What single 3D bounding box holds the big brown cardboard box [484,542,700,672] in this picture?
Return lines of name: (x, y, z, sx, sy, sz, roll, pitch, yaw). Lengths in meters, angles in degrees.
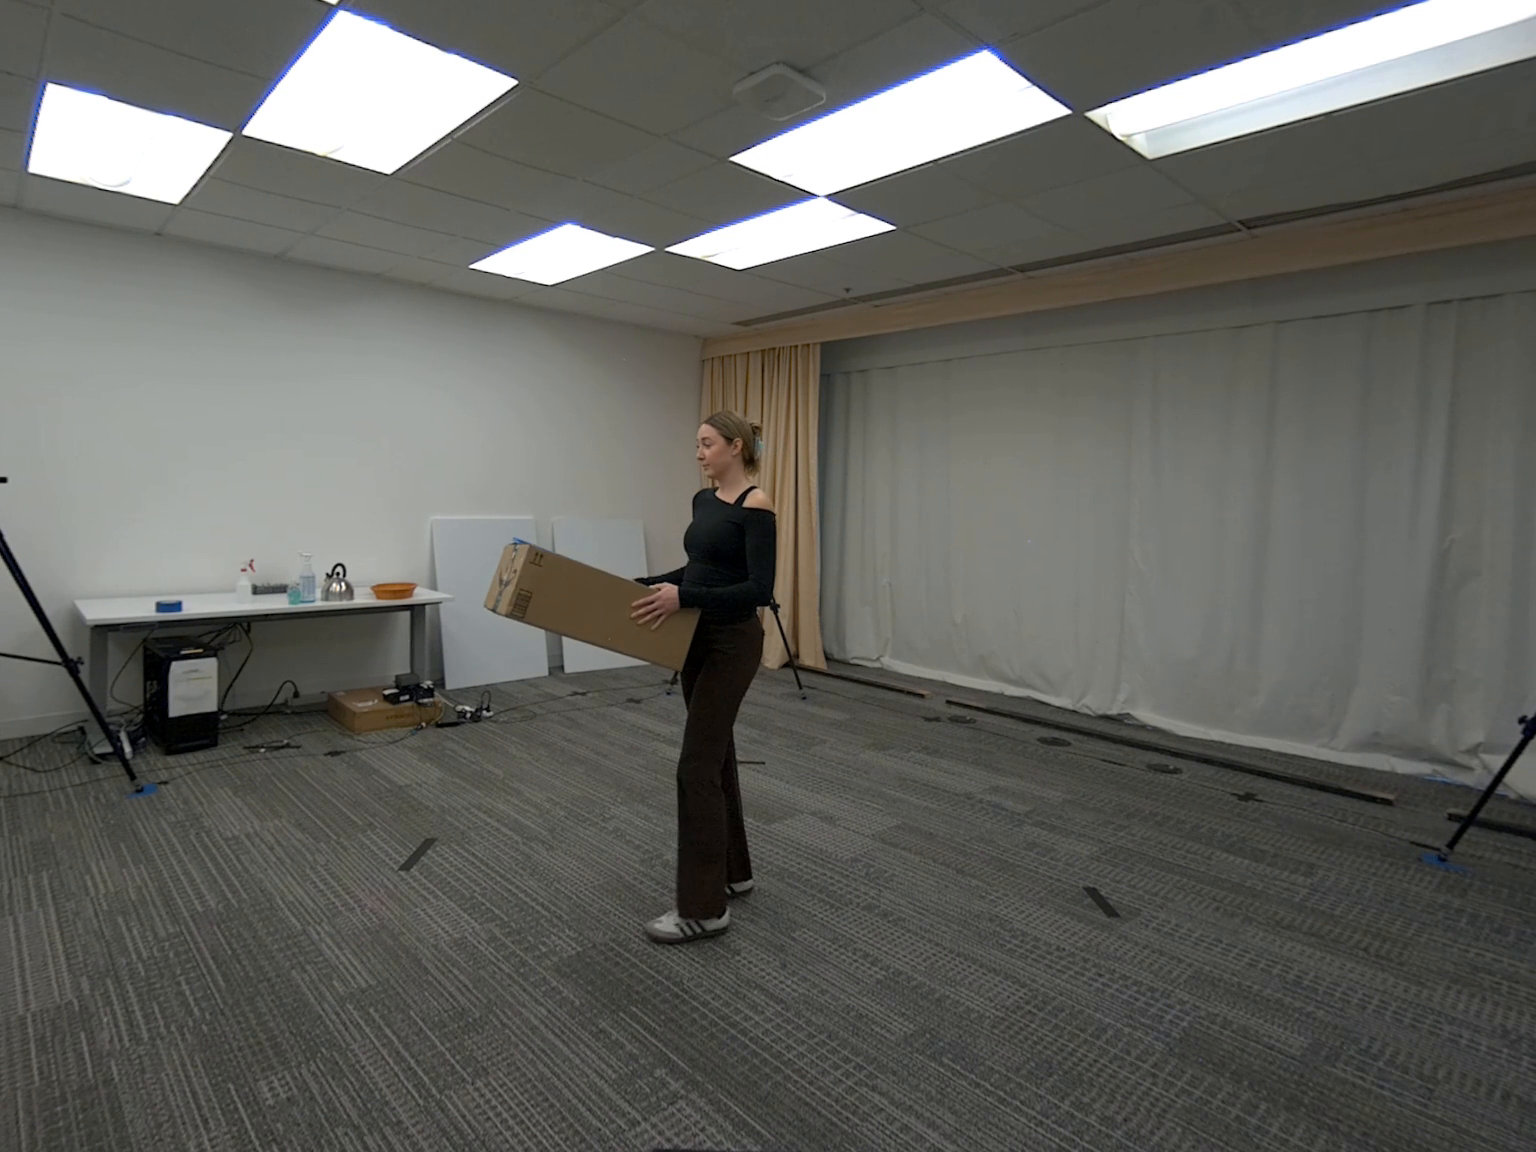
big brown cardboard box: (-0.566, 0.095, 2.653, 0.576, 0.234, 0.425, 22, -8, -24)
